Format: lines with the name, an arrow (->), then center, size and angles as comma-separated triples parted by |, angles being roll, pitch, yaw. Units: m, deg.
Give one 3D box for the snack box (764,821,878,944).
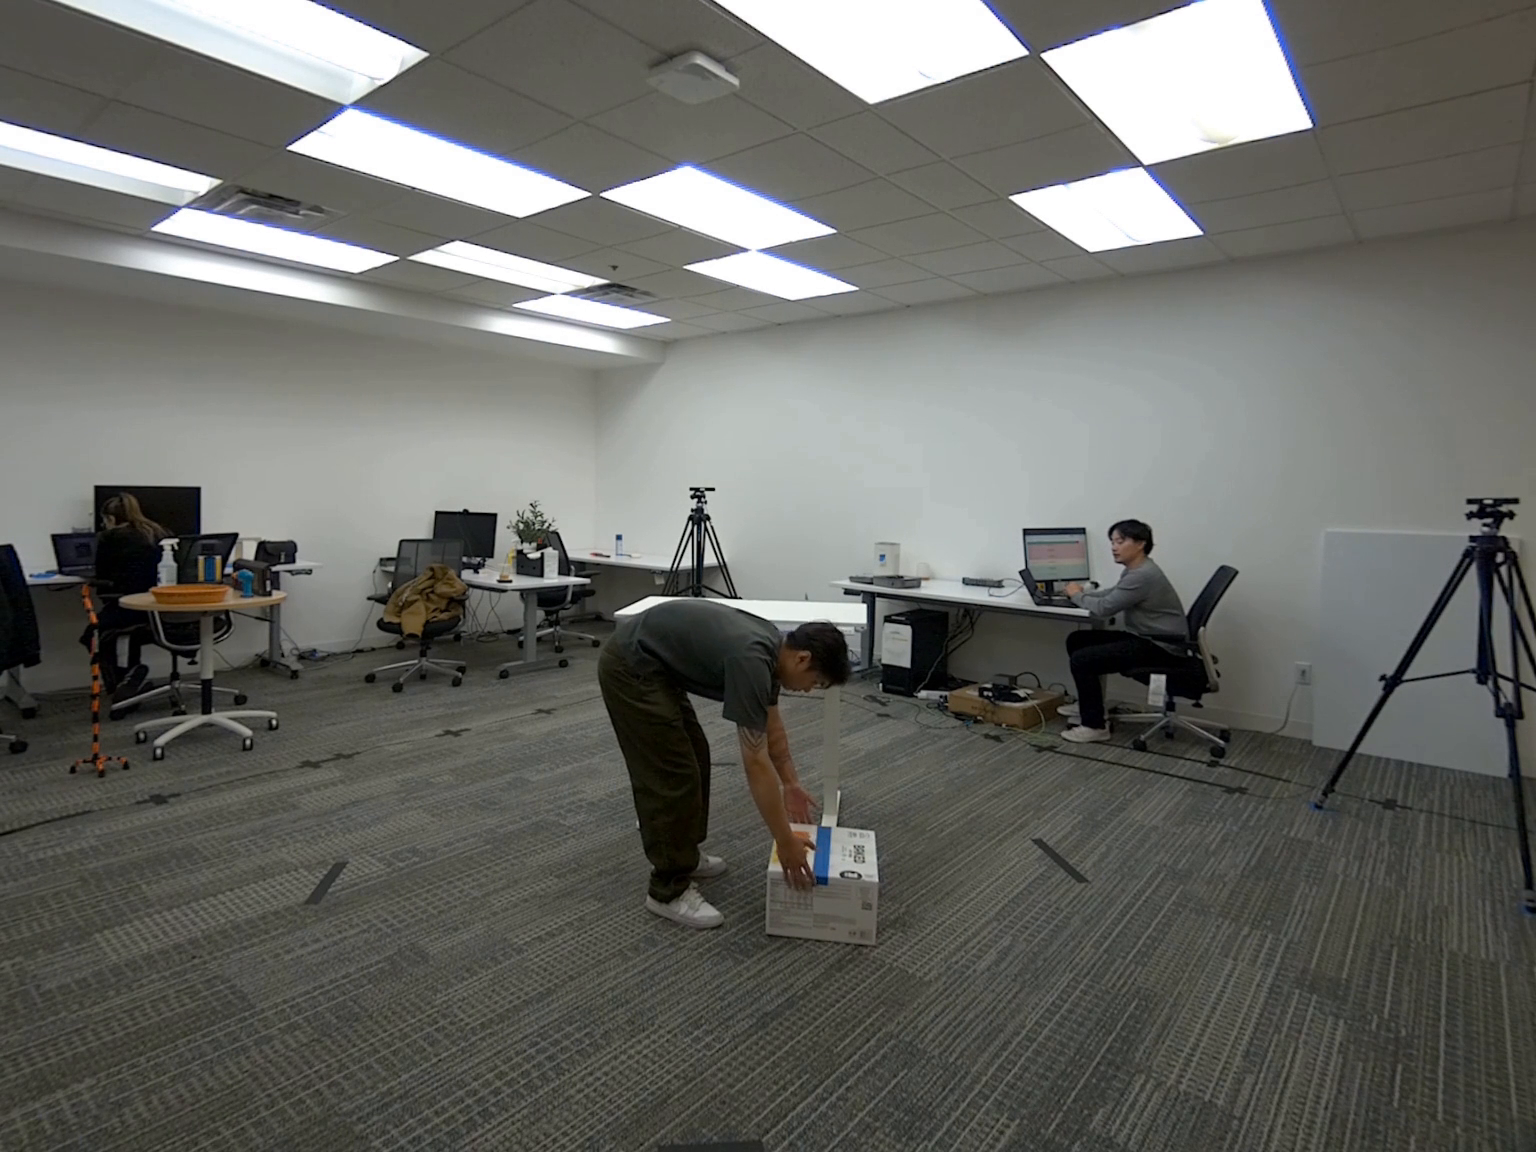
snack box -> 0.177, 0.998, 2.801 | 0.343, 0.205, 0.403 | 2, 5, 6
